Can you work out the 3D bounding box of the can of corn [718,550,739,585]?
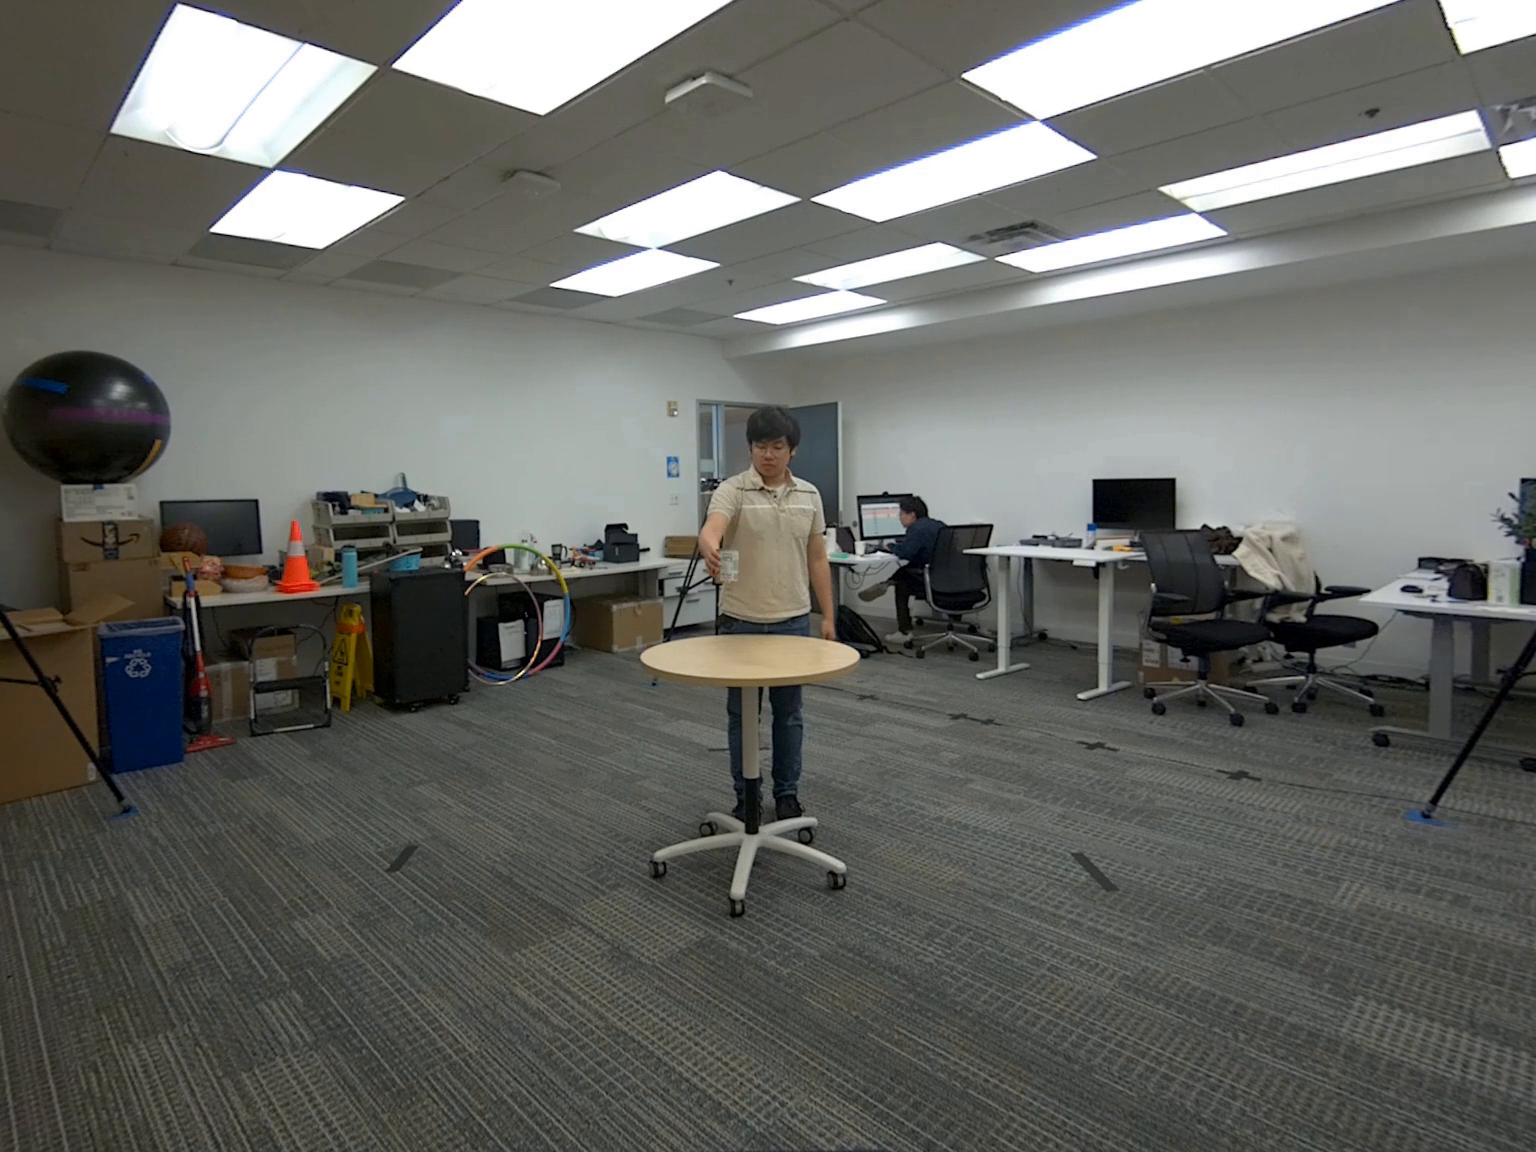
[{"bbox_3d":[-0.149,-0.038,2.802,0.074,0.111,0.074,3,4,-2],"label":"can of corn"}]
